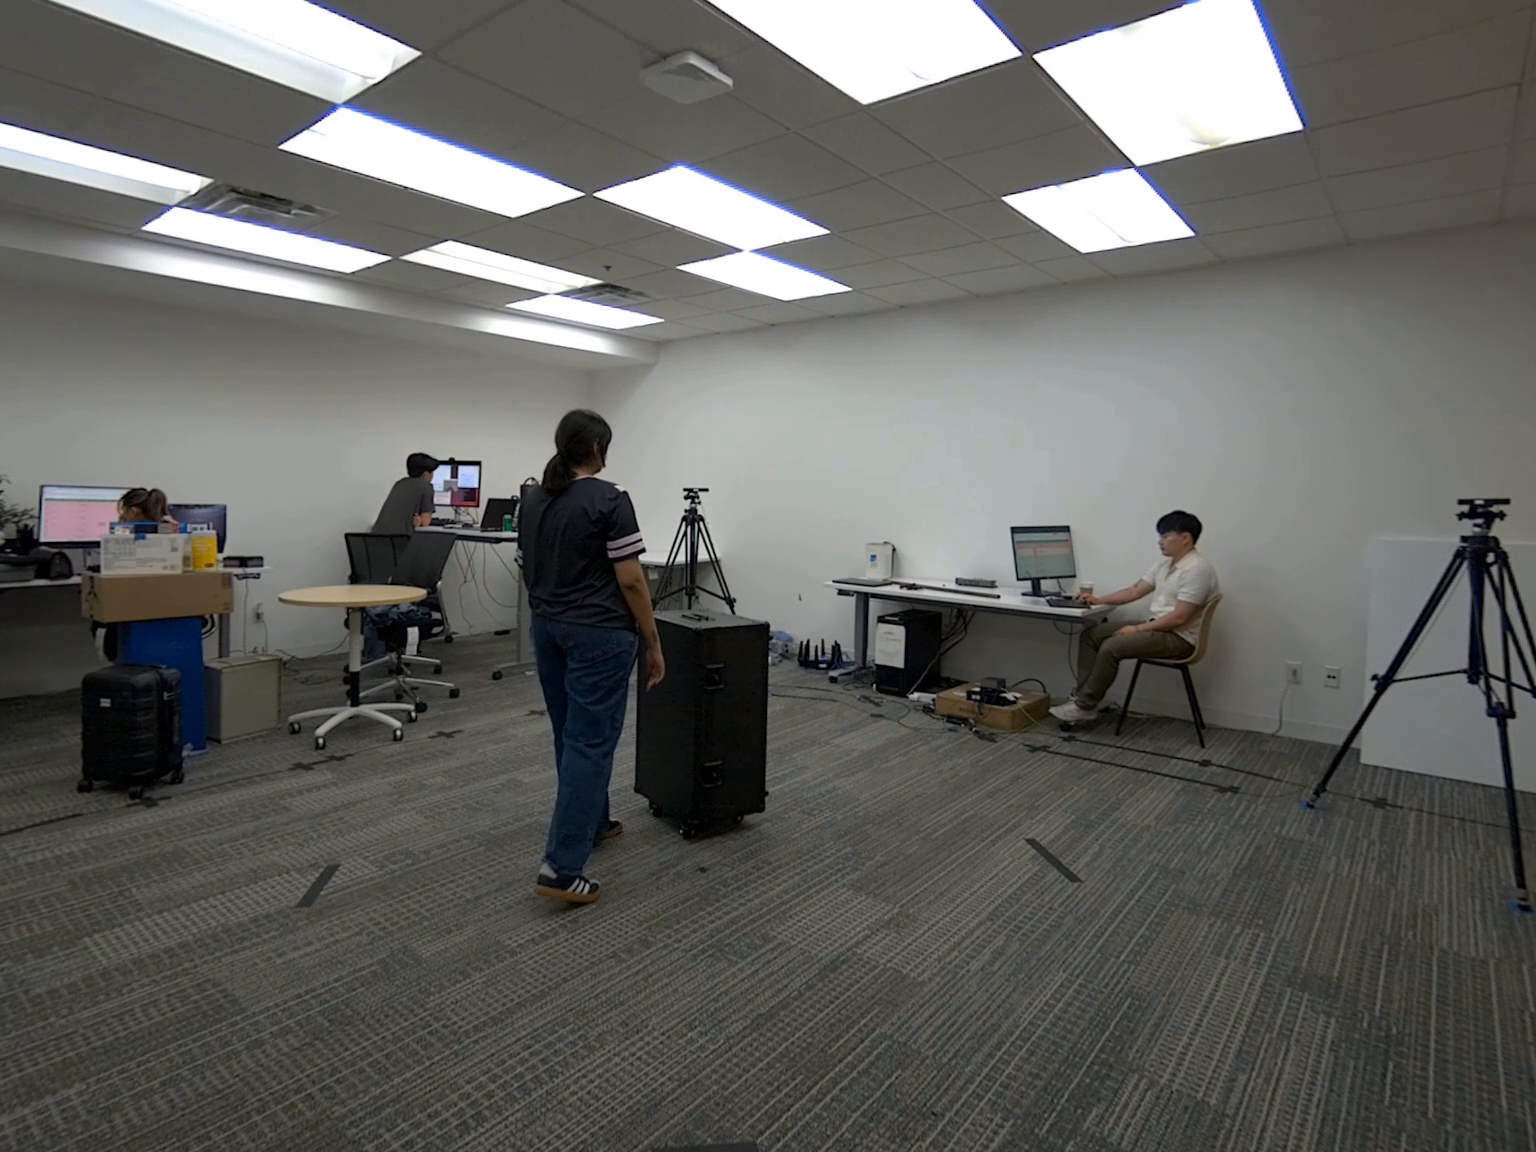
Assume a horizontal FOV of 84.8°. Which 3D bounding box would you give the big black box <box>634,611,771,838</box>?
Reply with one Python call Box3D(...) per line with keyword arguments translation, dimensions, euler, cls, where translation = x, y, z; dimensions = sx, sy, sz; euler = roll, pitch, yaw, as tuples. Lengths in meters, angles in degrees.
Box3D(translation=(-0.297, 0.600, 3.595), dimensions=(0.374, 0.866, 0.541), euler=(-1, 4, -37), cls="big black box")
